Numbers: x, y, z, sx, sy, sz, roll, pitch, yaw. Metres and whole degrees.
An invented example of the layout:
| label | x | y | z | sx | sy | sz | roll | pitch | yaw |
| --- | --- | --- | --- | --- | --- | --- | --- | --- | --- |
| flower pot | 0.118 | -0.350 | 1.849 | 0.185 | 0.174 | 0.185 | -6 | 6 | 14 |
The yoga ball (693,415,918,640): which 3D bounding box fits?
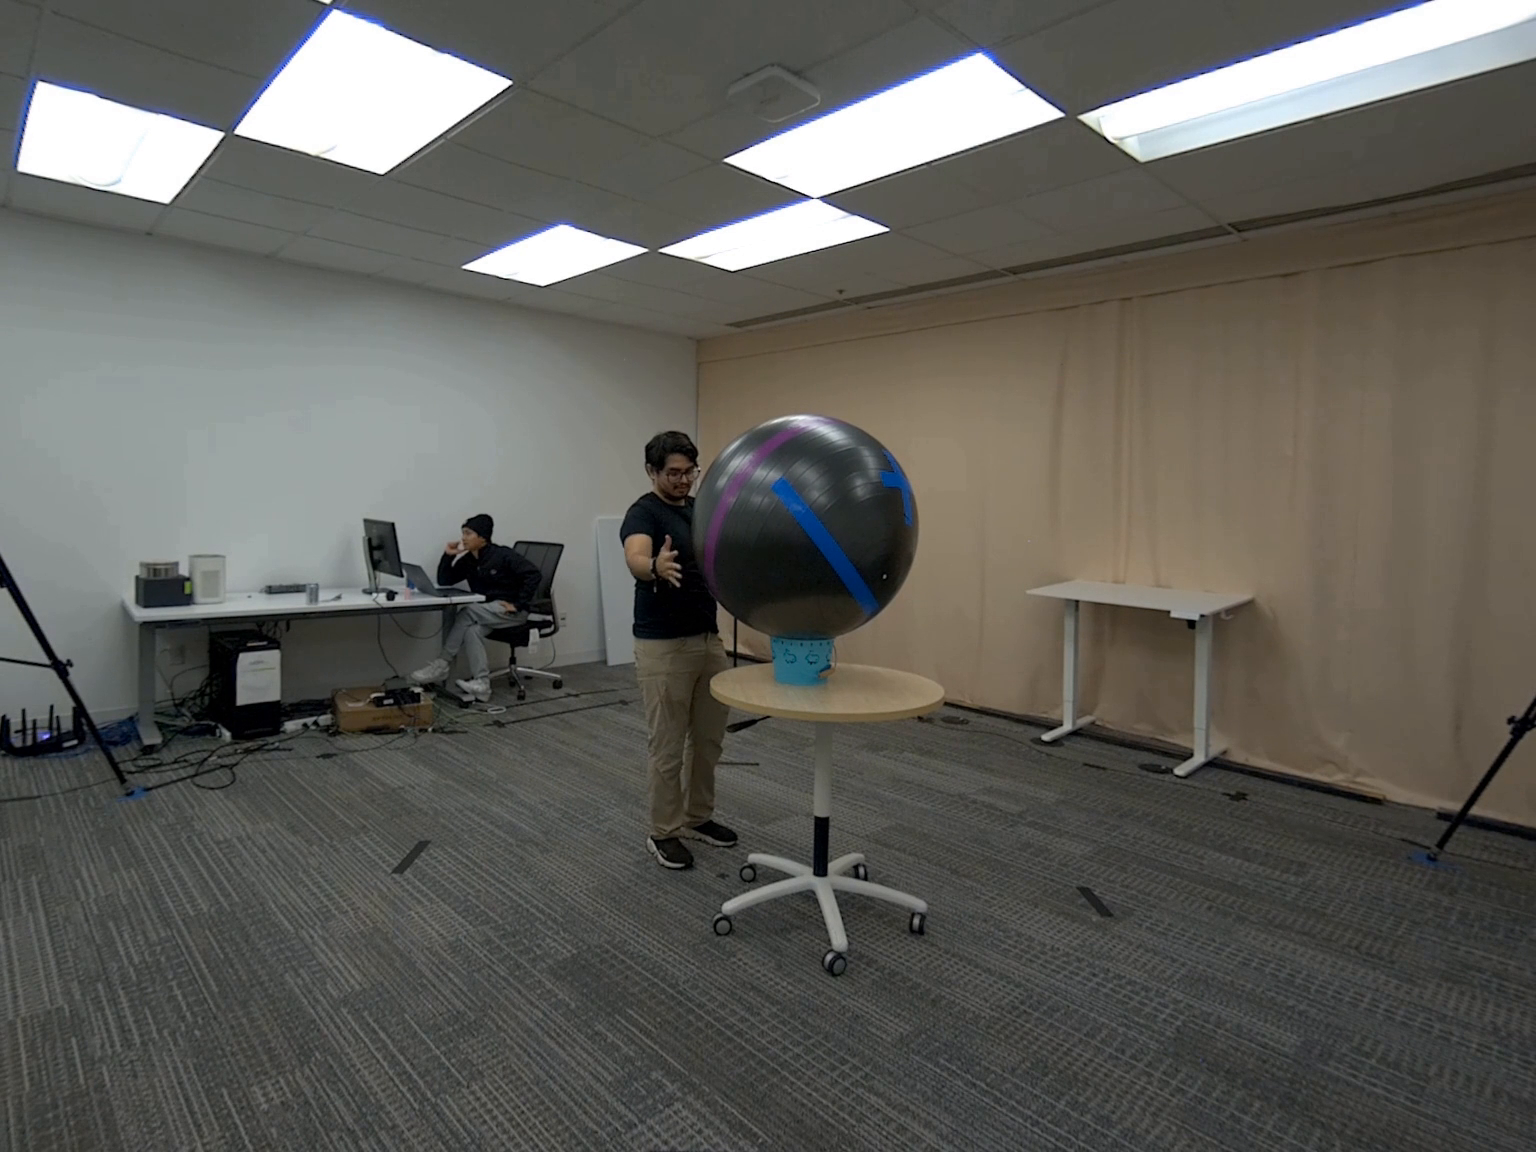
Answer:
| label | x | y | z | sx | sy | sz | roll | pitch | yaw |
| --- | --- | --- | --- | --- | --- | --- | --- | --- | --- |
| yoga ball | 0.116 | -0.156 | 2.836 | 0.757 | 0.756 | 0.761 | 1 | 4 | -1 |
